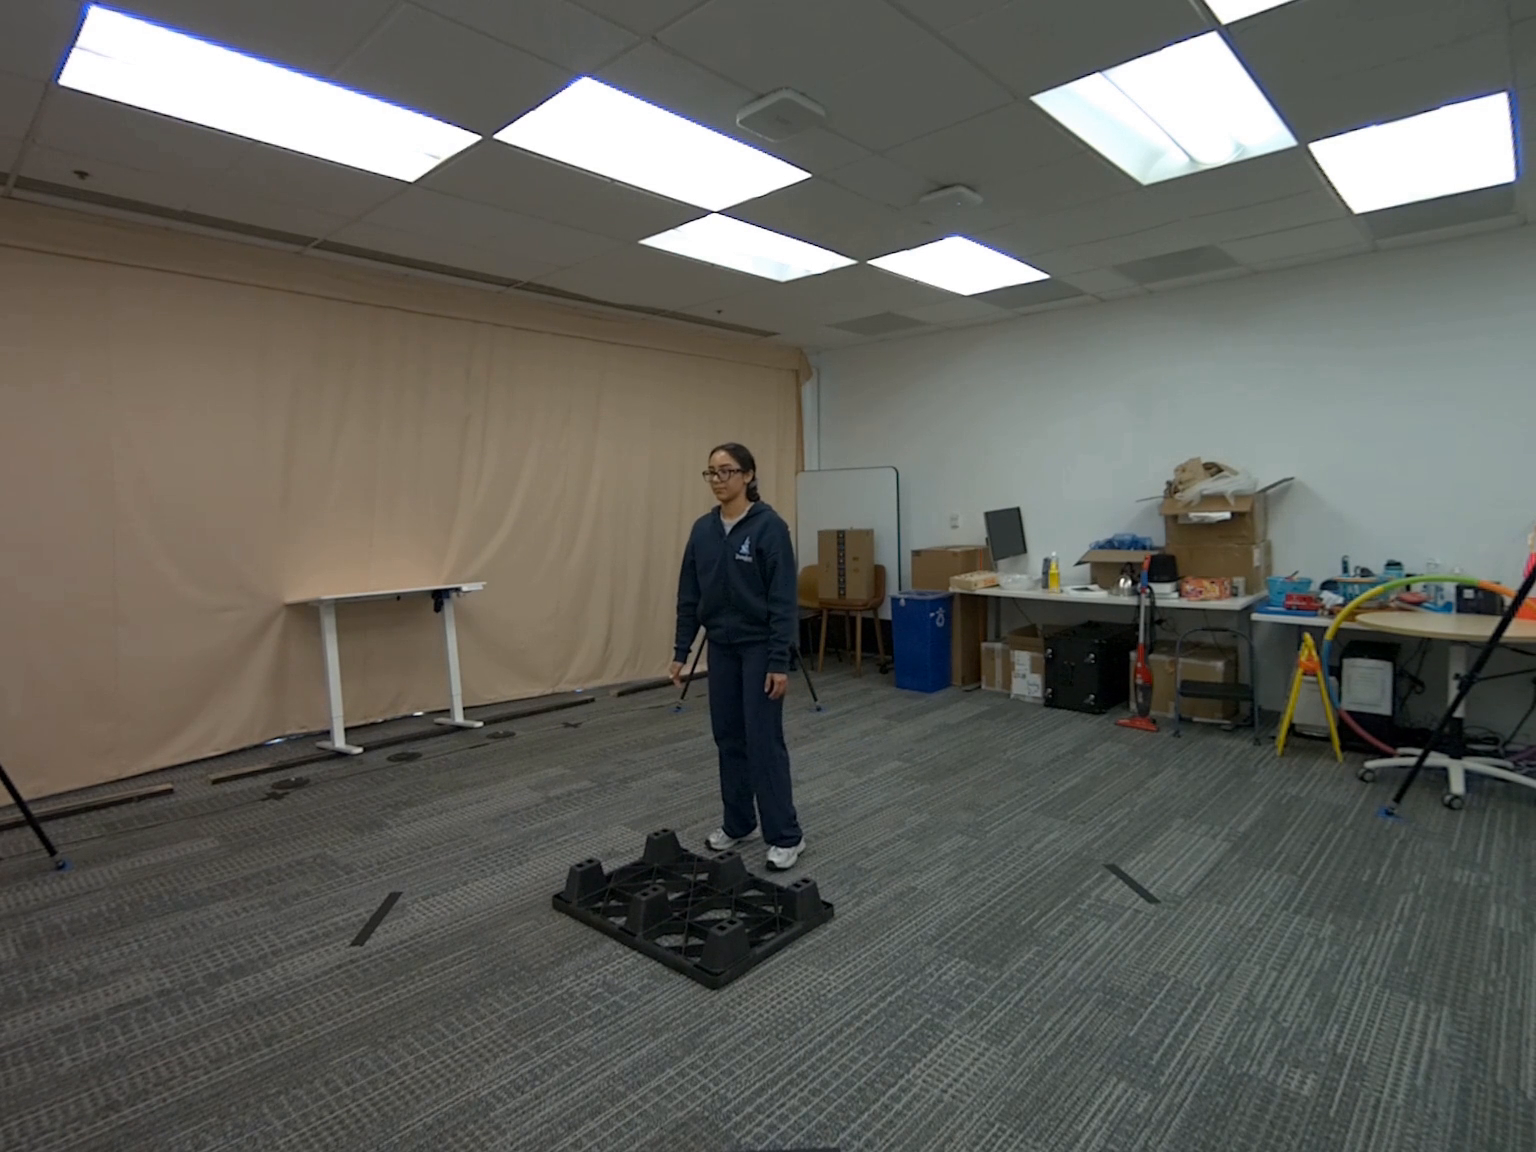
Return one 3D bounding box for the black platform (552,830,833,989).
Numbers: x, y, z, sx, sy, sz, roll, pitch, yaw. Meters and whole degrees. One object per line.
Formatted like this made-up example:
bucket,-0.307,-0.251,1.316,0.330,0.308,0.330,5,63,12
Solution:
black platform,-0.272,1.090,2.892,0.832,0.143,0.587,3,6,41
